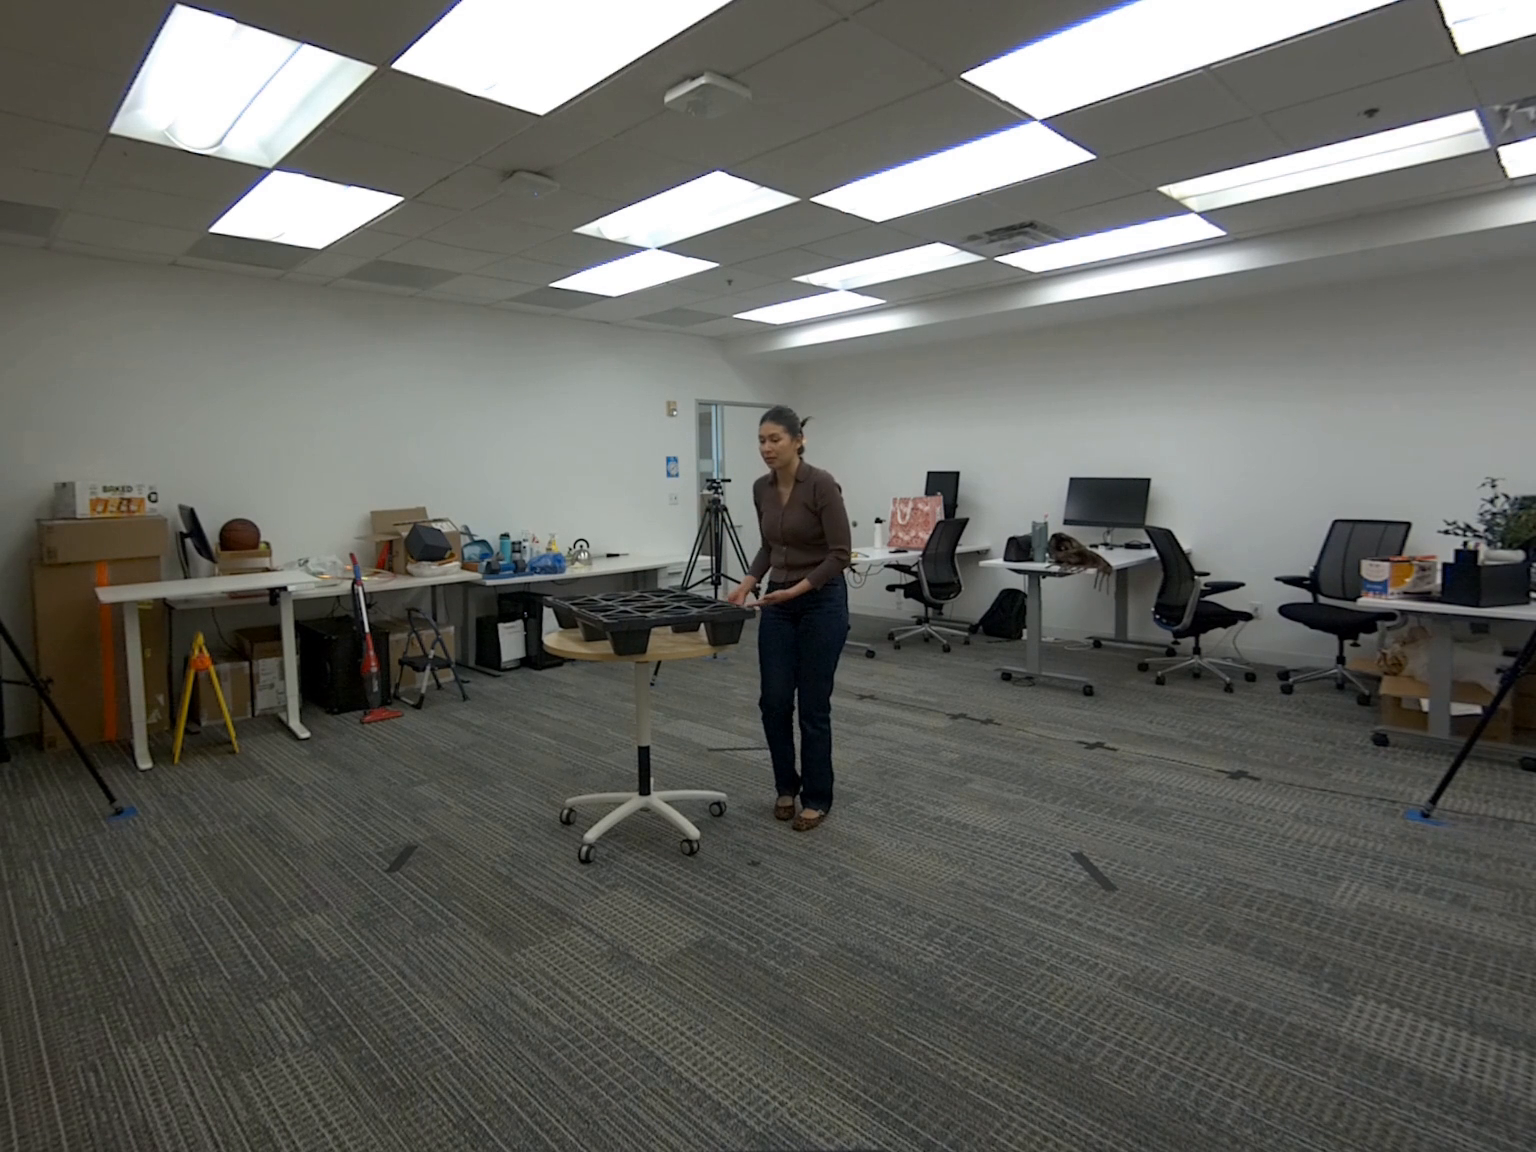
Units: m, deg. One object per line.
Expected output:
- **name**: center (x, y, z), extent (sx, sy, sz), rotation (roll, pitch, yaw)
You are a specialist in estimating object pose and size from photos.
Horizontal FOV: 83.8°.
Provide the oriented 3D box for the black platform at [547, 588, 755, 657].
- **black platform**: center (-0.506, 0.171, 3.393), extent (0.591, 0.143, 0.827), rotation (-4, 6, -29)
